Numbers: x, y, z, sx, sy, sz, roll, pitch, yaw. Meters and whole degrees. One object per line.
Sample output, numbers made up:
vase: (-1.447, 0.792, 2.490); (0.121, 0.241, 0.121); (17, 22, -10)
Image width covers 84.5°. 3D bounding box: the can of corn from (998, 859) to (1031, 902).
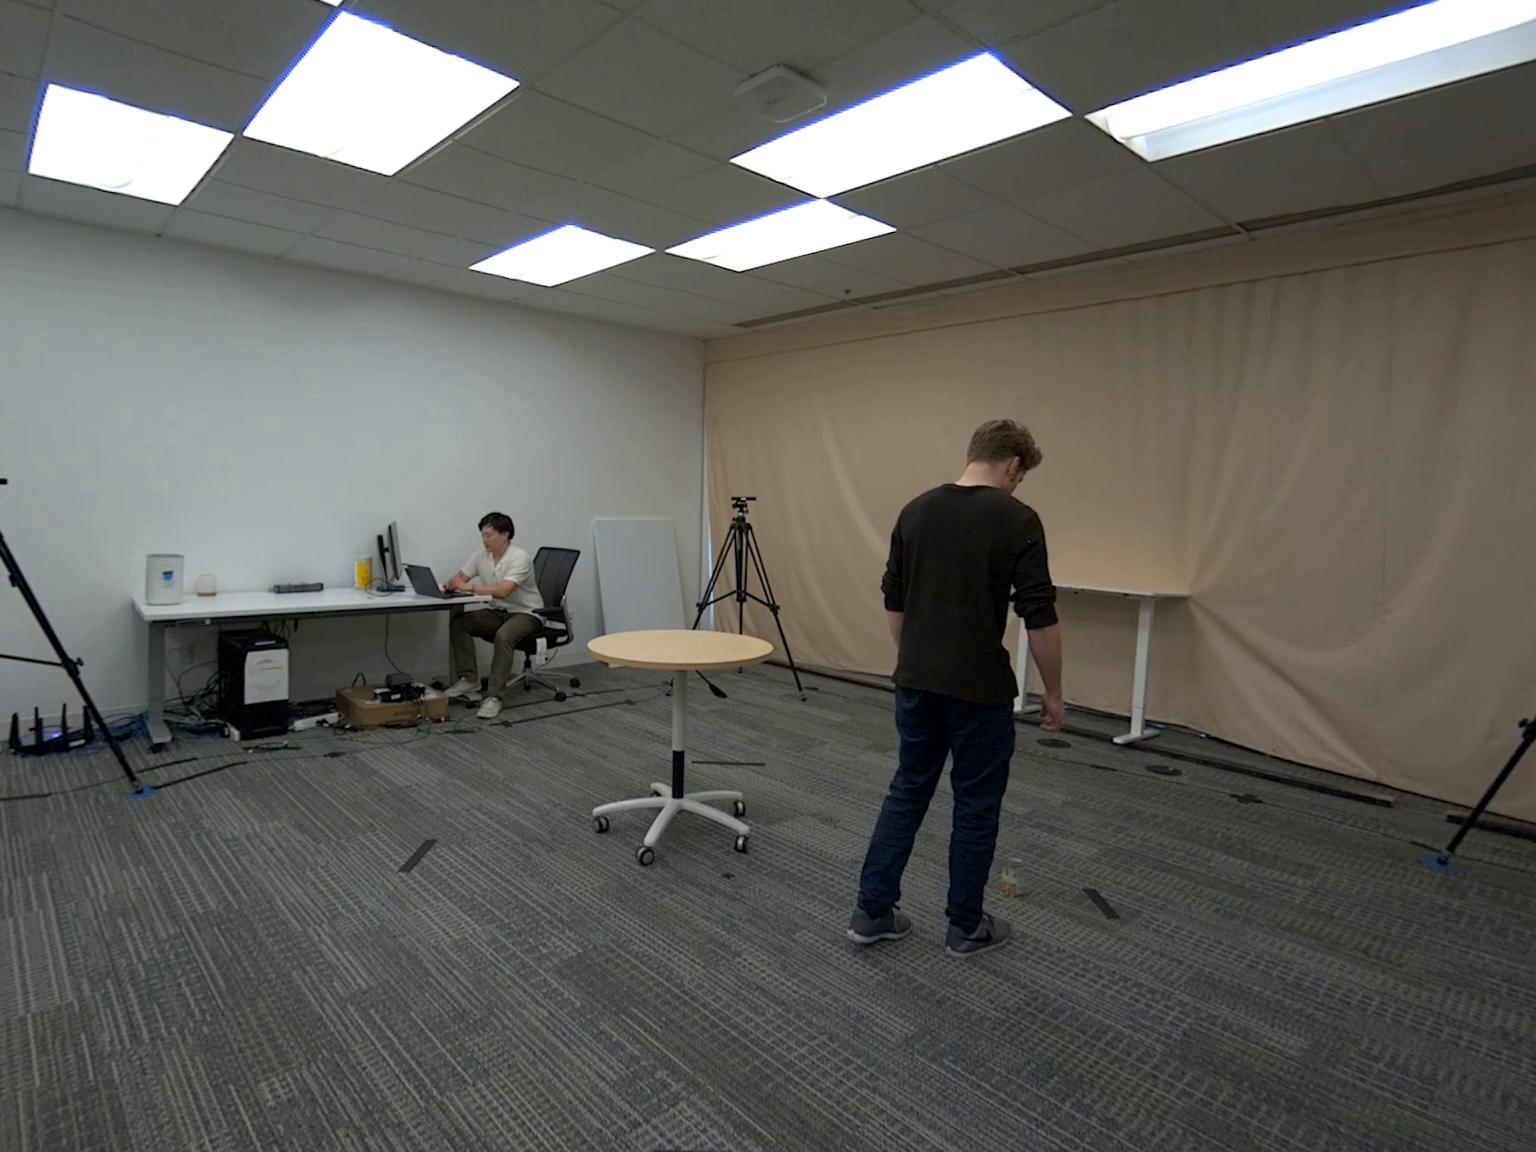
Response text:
can of corn: (0.880, 1.087, 3.031); (0.074, 0.111, 0.074); (8, 4, -2)
